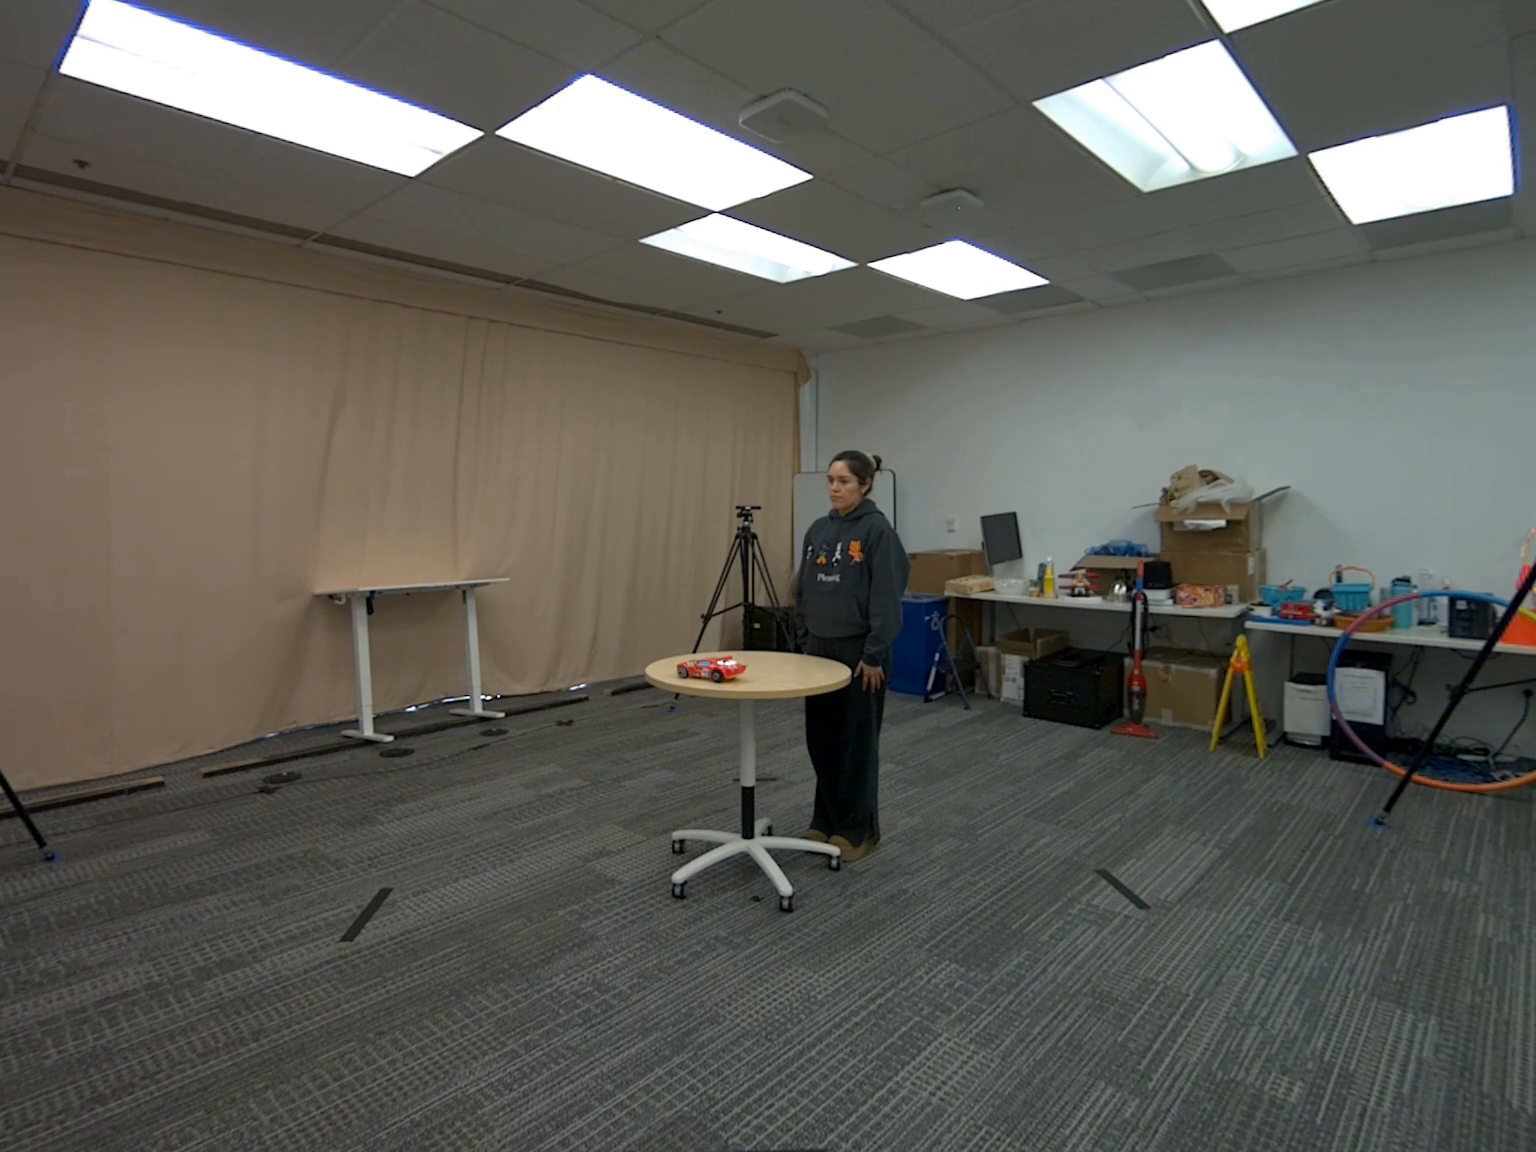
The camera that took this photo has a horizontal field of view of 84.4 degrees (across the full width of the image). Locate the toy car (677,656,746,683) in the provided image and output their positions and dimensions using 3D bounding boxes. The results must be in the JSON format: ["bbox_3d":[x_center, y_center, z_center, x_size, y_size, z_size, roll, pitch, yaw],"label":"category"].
[{"bbox_3d":[-0.176,0.333,2.961,0.261,0.083,0.127,-11,-2,31],"label":"toy car"}]
